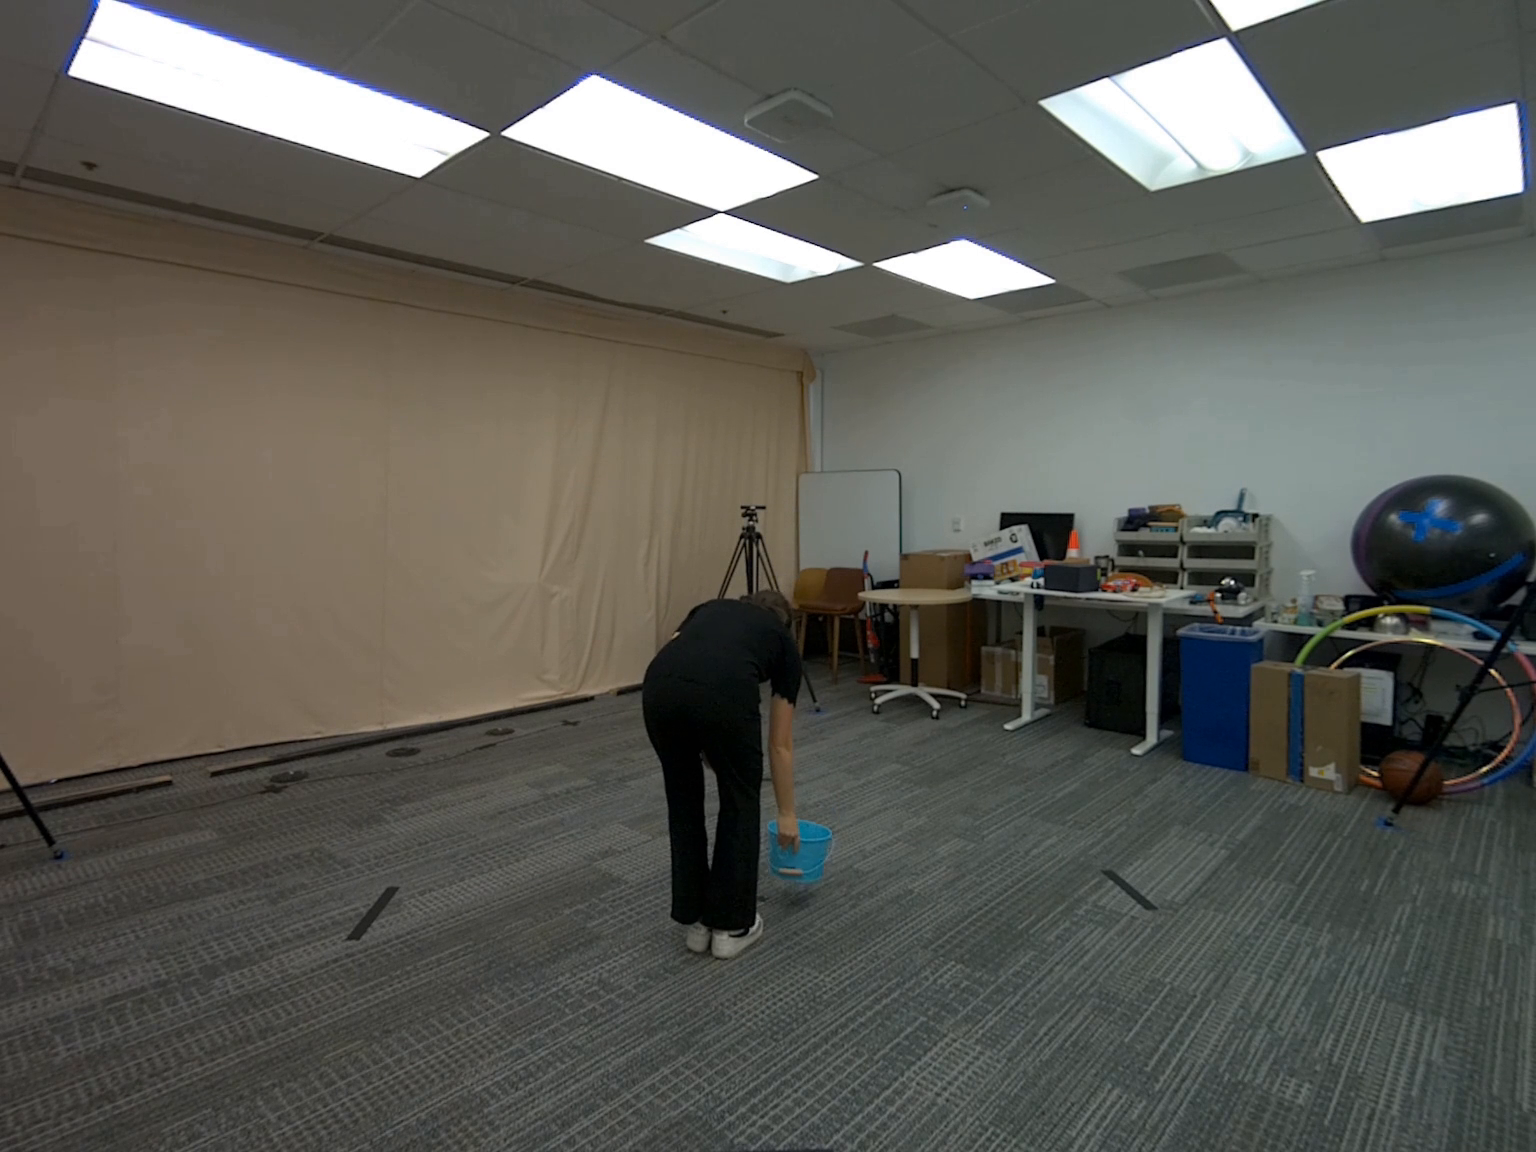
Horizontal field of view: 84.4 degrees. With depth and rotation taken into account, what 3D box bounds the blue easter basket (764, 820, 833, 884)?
[{"bbox_3d":[0.109,0.967,2.955,0.243,0.156,0.244,5,0,-2],"label":"blue easter basket"}]
